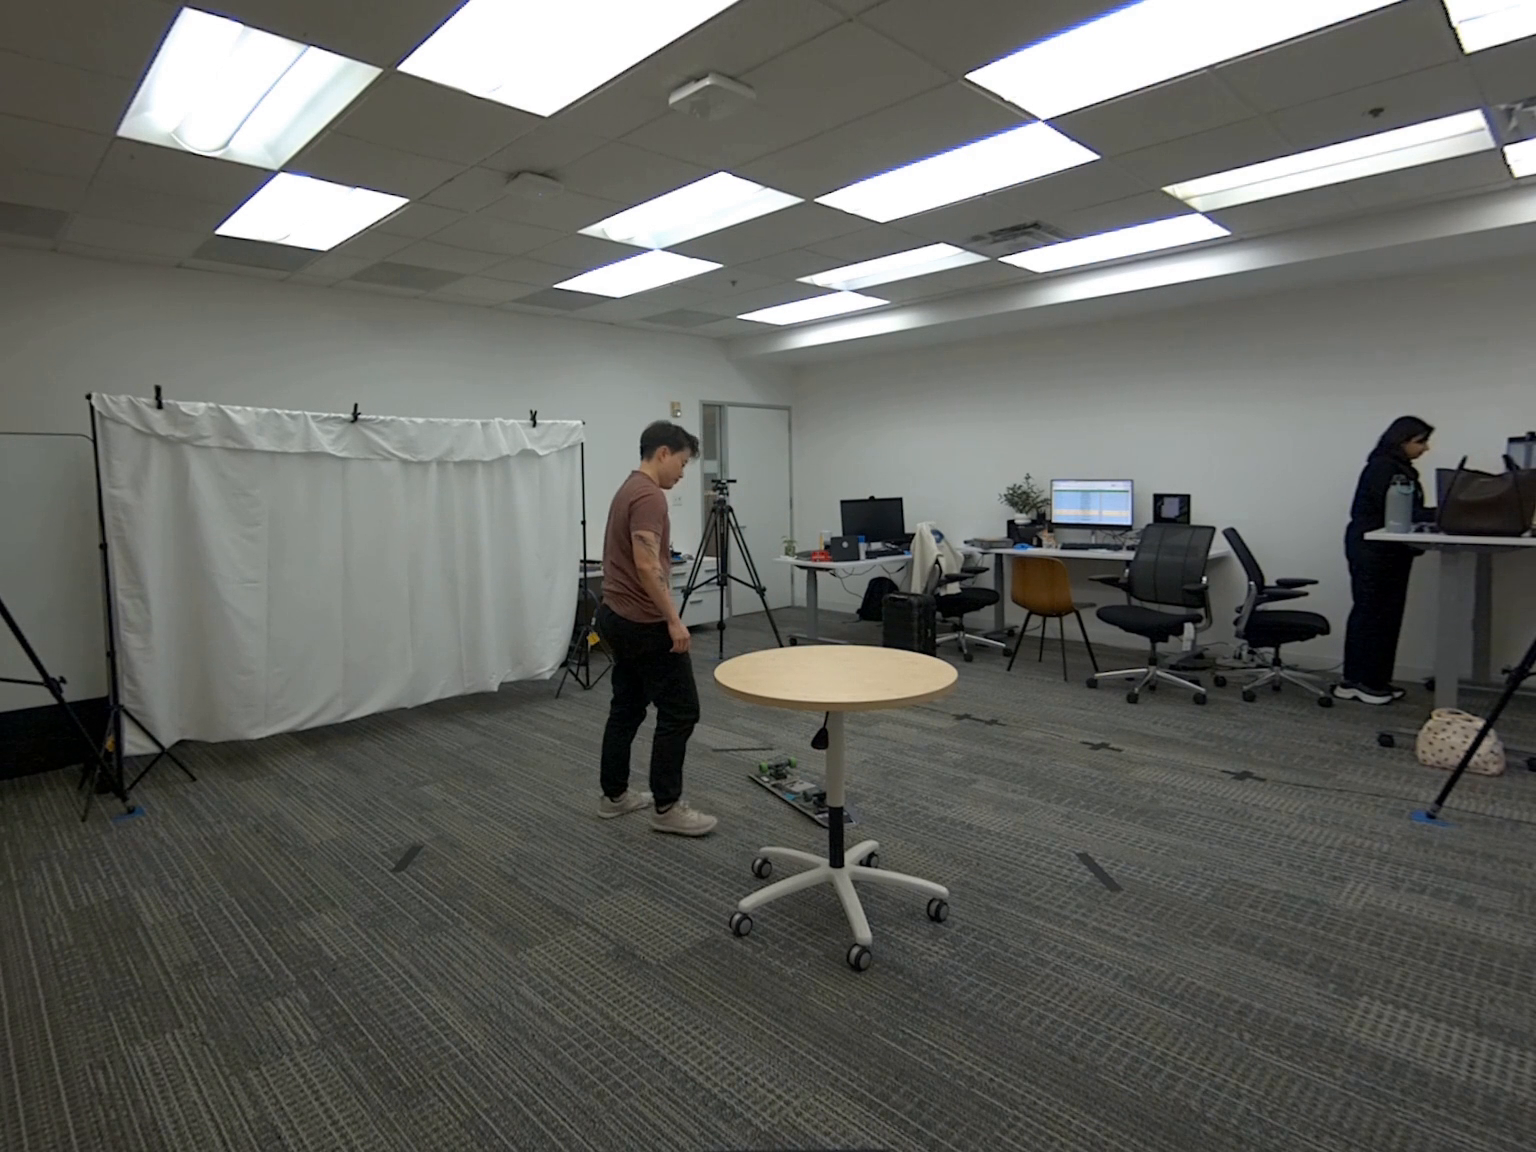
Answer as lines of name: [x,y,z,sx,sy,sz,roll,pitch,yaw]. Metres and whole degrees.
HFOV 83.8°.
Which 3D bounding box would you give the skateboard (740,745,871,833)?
skateboard: [0.137,0.910,3.751,0.189,0.110,0.806,-4,6,-27]
